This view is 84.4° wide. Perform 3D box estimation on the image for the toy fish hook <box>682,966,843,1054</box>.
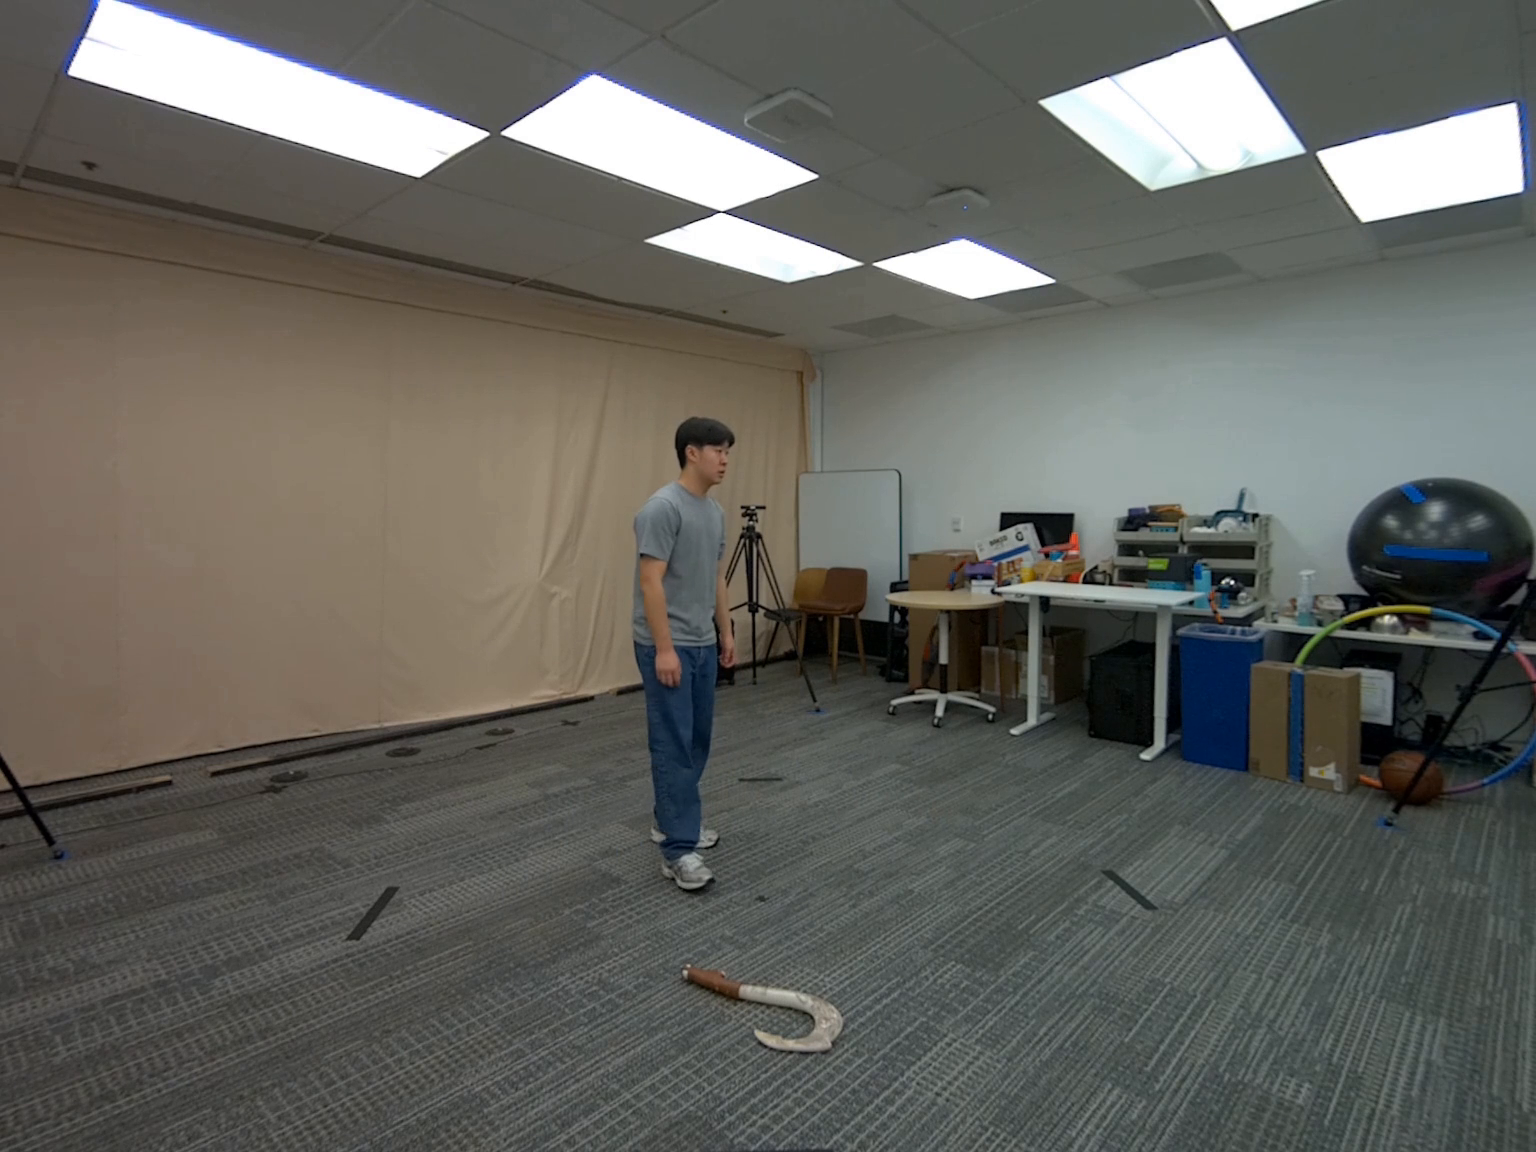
[{"bbox_3d":[-0.045,1.178,2.302,0.521,0.048,0.219,2,4,29],"label":"toy fish hook"}]
